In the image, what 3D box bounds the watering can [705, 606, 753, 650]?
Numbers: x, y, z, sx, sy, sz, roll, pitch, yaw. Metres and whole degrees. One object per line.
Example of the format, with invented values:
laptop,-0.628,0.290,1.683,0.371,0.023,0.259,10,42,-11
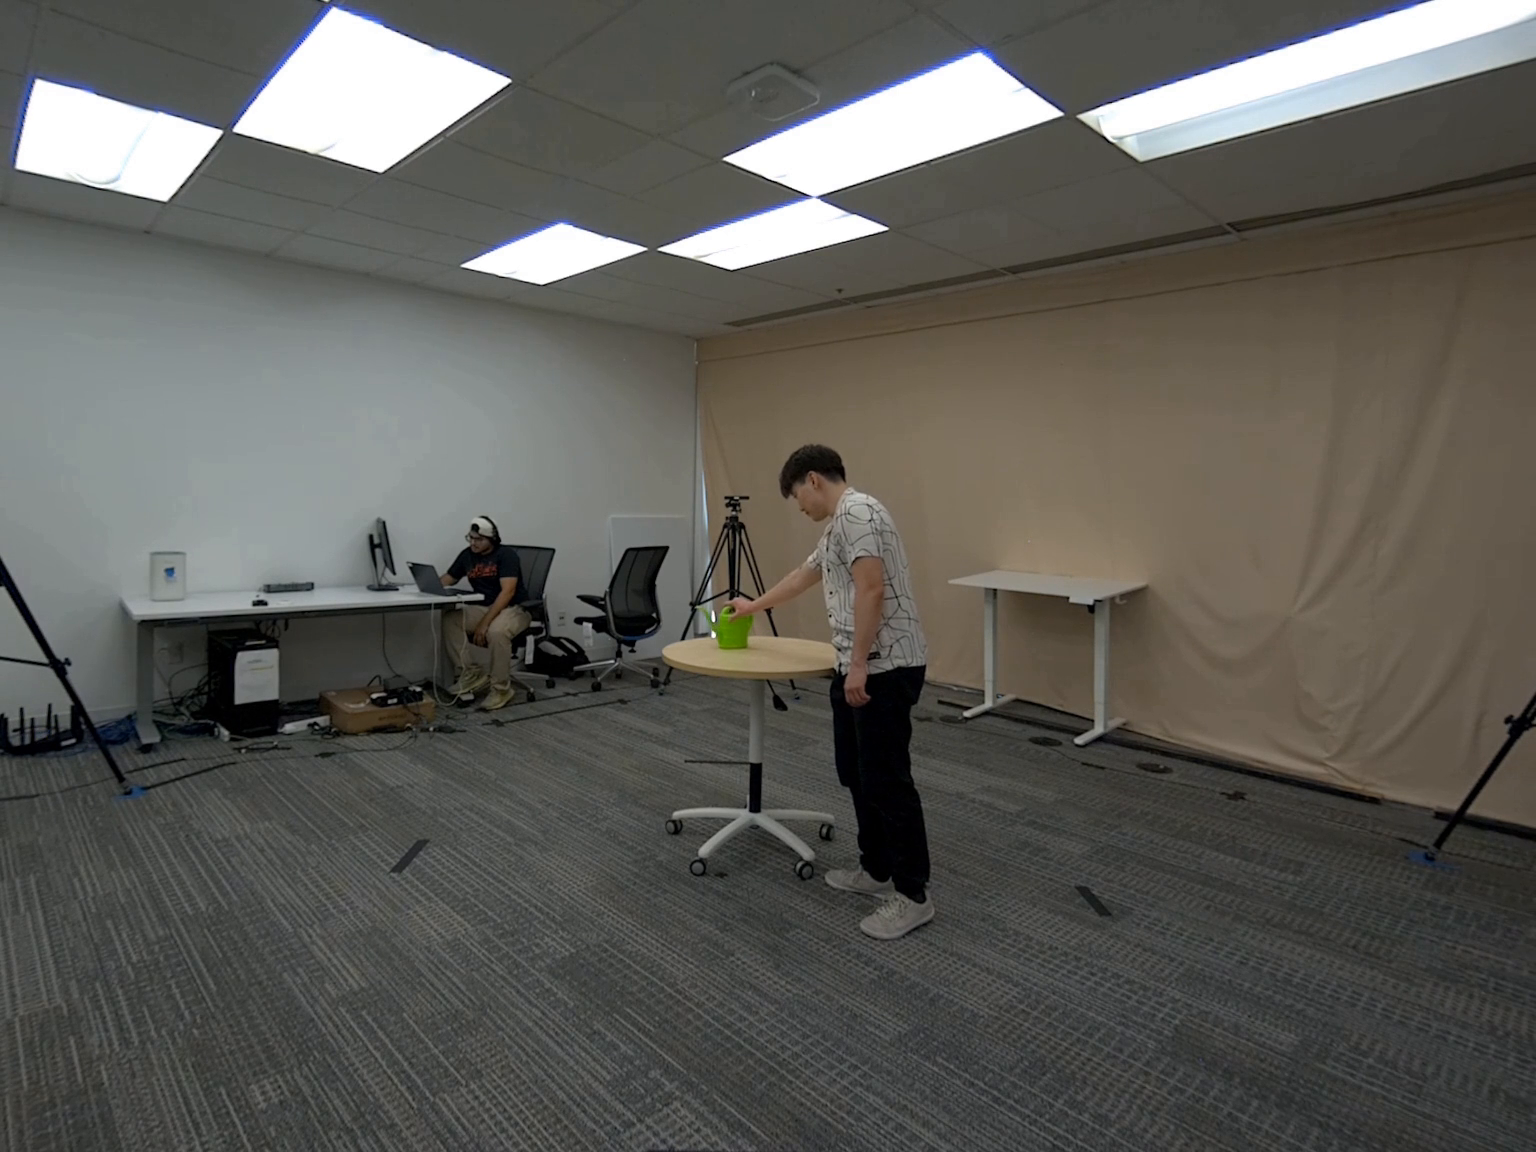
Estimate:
watering can,-0.183,0.204,3.415,0.273,0.176,0.100,3,4,-23
